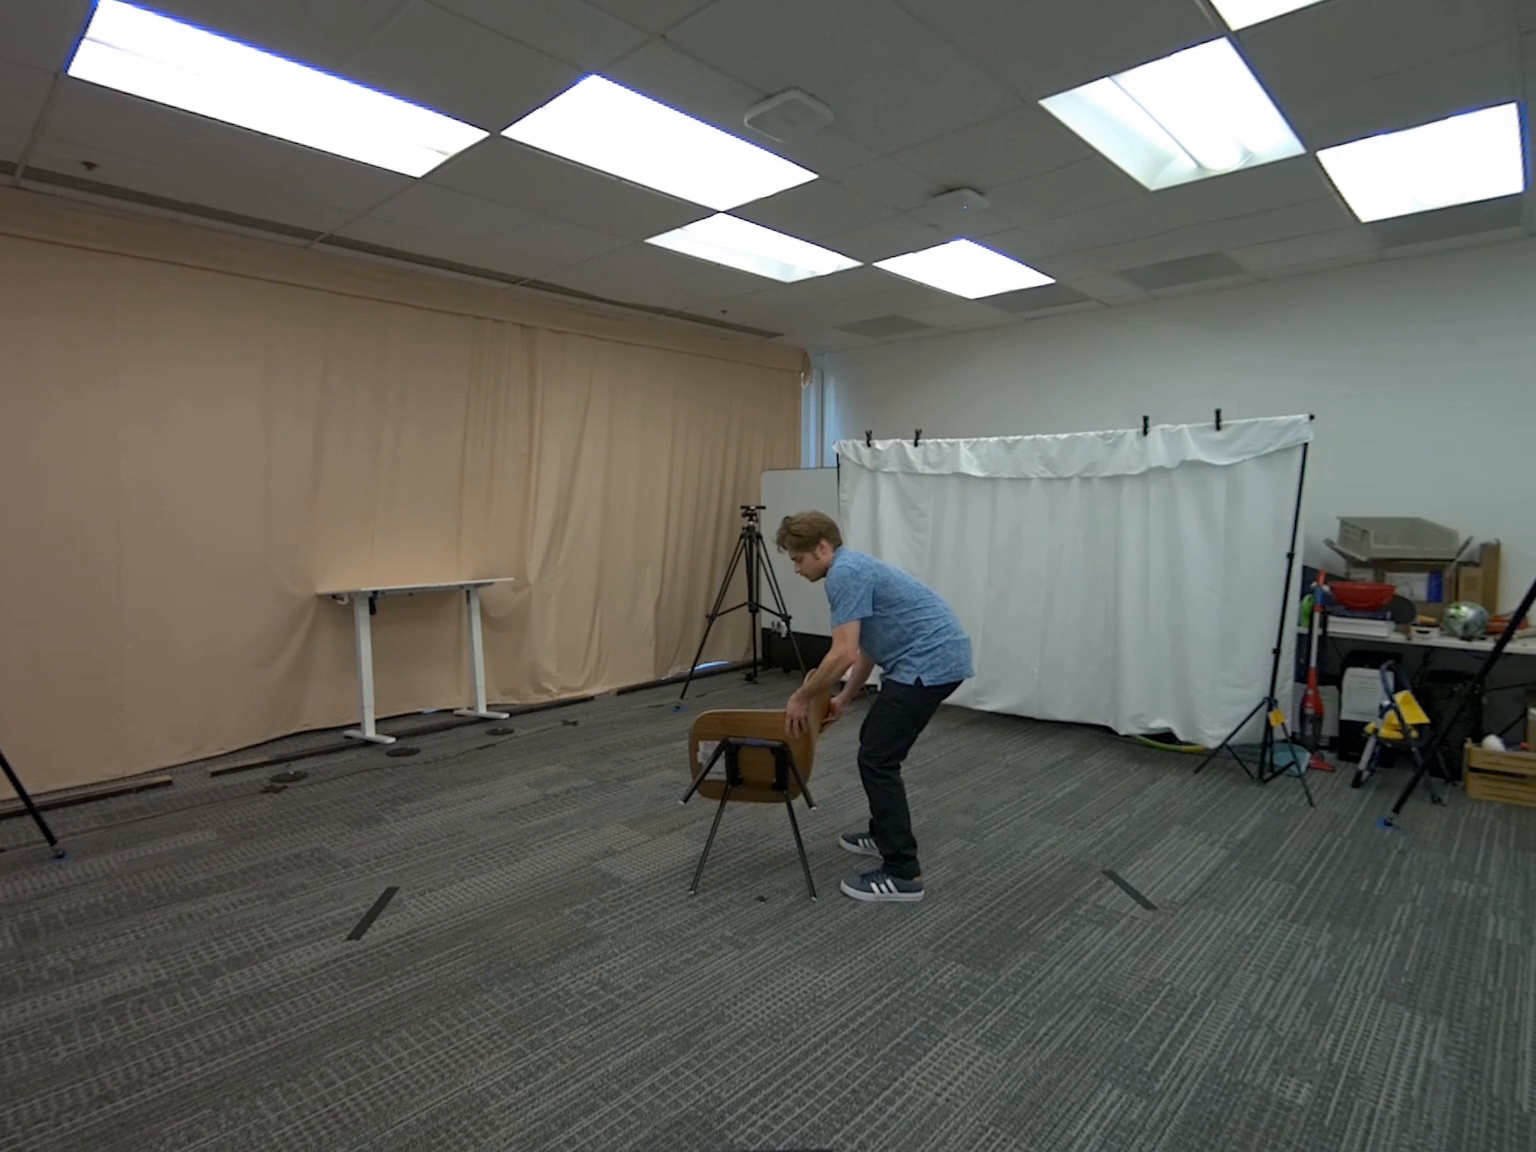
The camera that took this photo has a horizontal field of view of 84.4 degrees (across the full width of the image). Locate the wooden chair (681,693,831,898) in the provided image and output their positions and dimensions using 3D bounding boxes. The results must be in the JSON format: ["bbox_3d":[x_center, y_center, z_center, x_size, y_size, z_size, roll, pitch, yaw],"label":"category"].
[{"bbox_3d":[-0.042,0.742,3.252,0.529,0.470,0.883,1,30,9],"label":"wooden chair"}]
